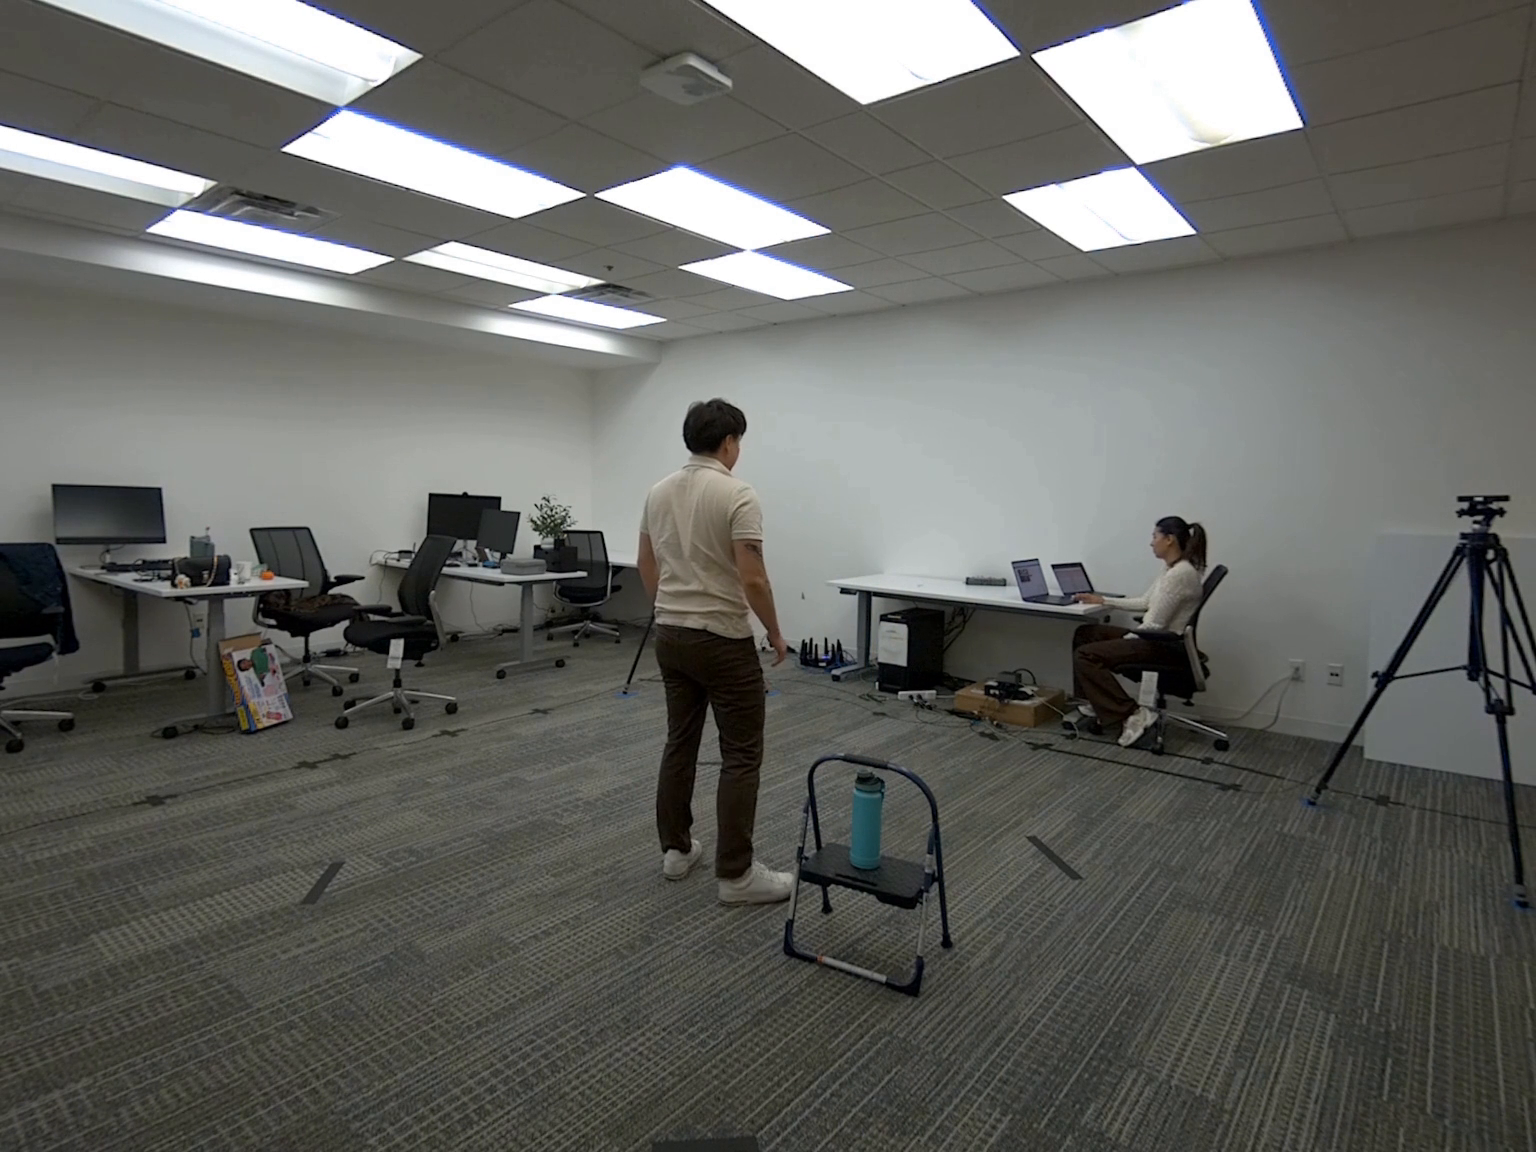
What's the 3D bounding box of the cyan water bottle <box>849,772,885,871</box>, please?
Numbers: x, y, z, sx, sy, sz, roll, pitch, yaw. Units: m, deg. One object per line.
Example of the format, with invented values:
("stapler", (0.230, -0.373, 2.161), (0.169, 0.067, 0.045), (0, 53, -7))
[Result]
("cyan water bottle", (0.300, 0.732, 2.567), (0.092, 0.282, 0.093), (6, 4, -2))
